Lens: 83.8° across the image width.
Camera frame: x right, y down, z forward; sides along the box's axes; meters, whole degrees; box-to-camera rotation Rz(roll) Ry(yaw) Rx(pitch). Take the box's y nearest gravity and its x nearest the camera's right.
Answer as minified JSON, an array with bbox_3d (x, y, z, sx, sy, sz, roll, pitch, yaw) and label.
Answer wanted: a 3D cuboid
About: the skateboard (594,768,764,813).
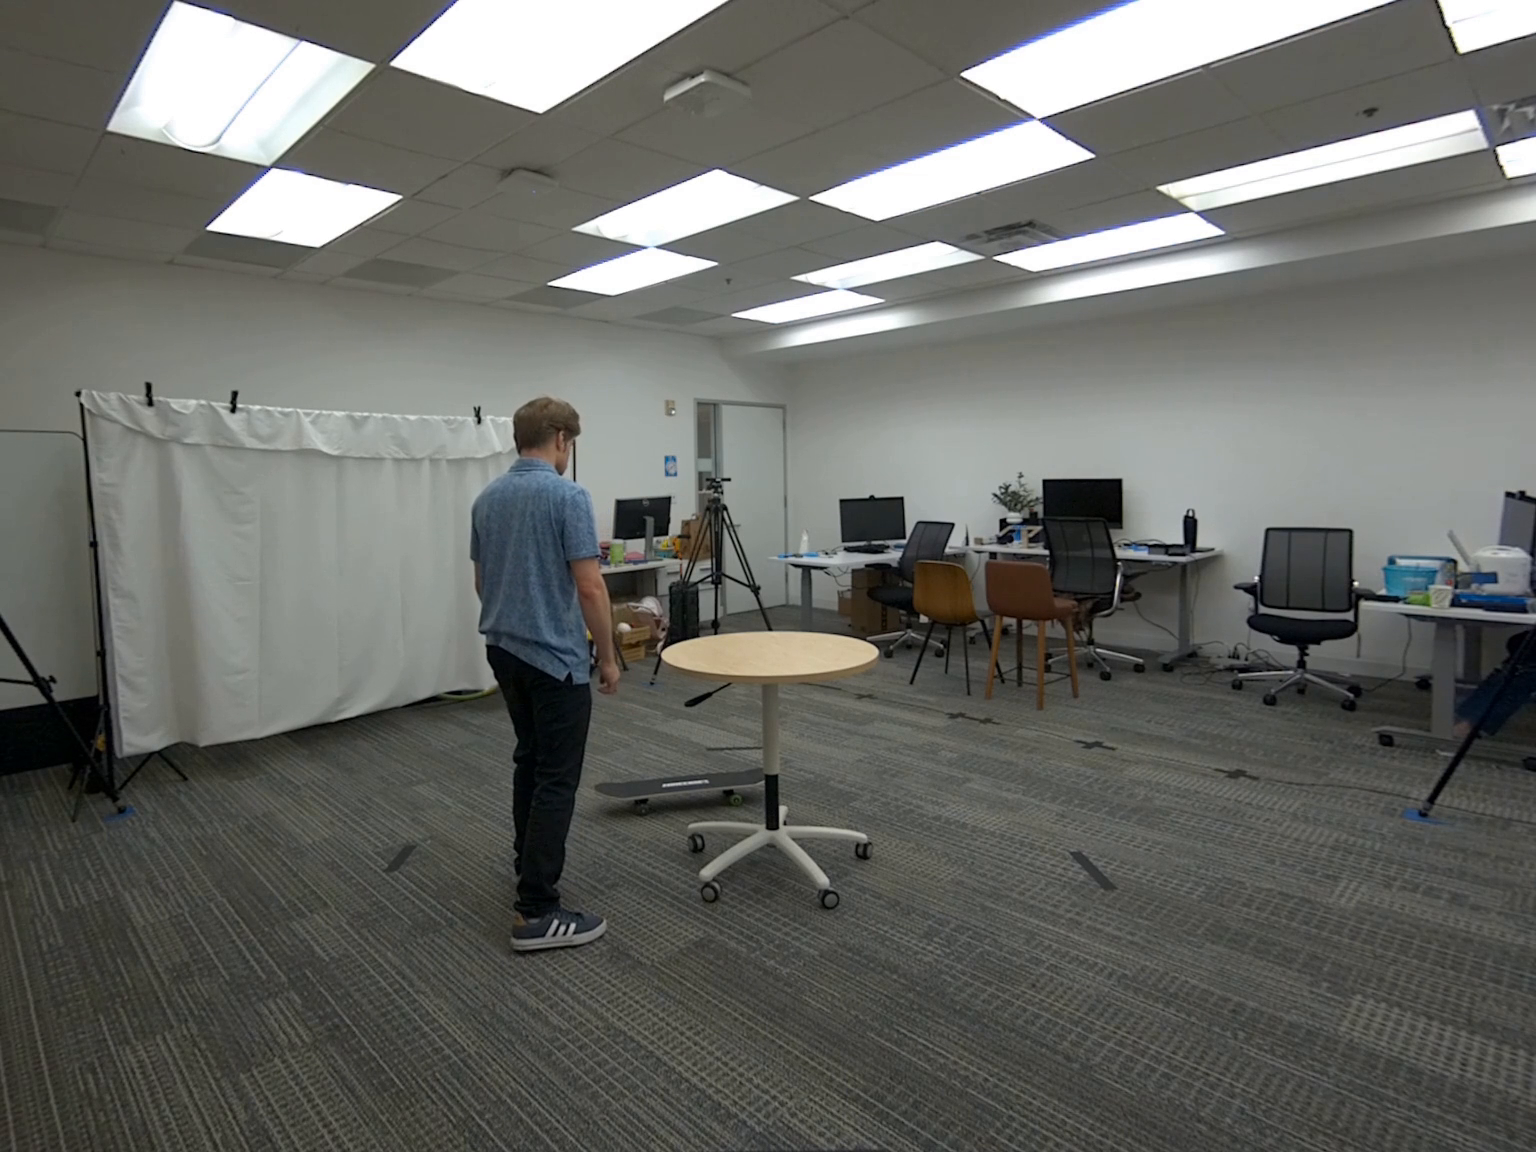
[{"bbox_3d":[-0.354,0.926,3.680,0.776,0.110,0.196,-3,6,-13],"label":"skateboard"}]
